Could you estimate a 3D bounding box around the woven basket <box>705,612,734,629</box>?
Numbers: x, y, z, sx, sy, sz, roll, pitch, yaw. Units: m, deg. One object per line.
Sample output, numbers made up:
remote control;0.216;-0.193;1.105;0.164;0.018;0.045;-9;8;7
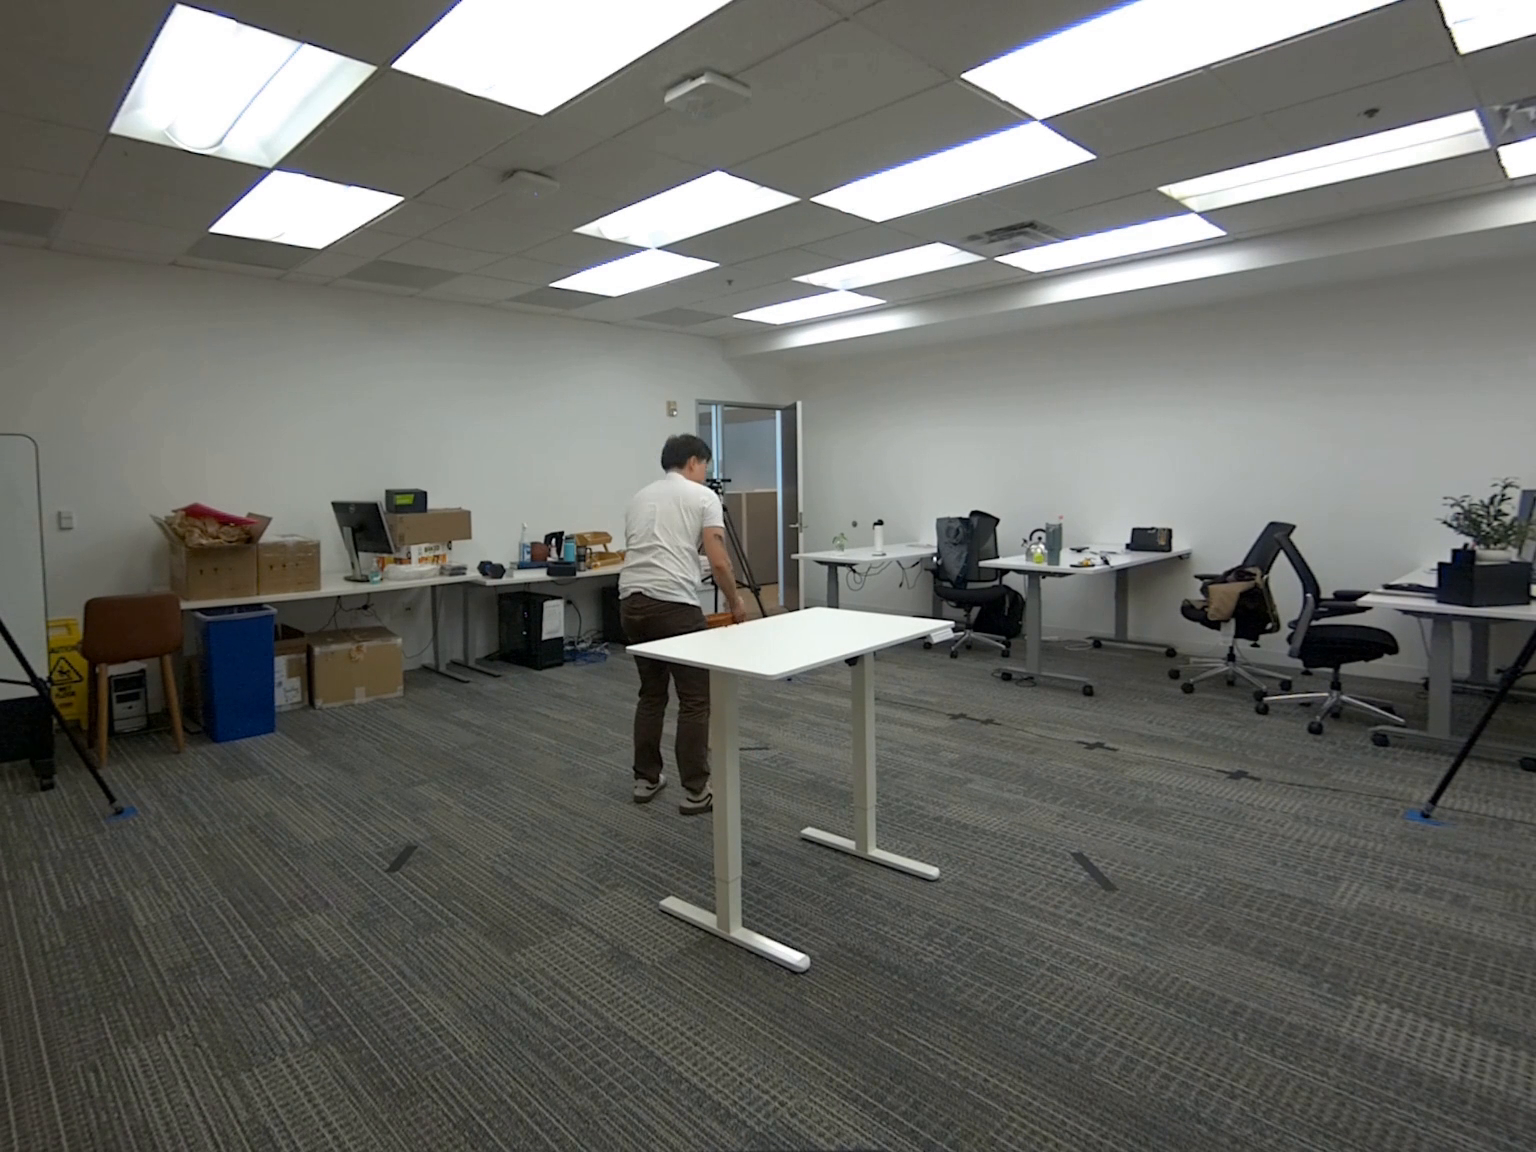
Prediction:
woven basket;-0.283;0.227;3.951;0.358;0.073;0.248;-7;5;30
